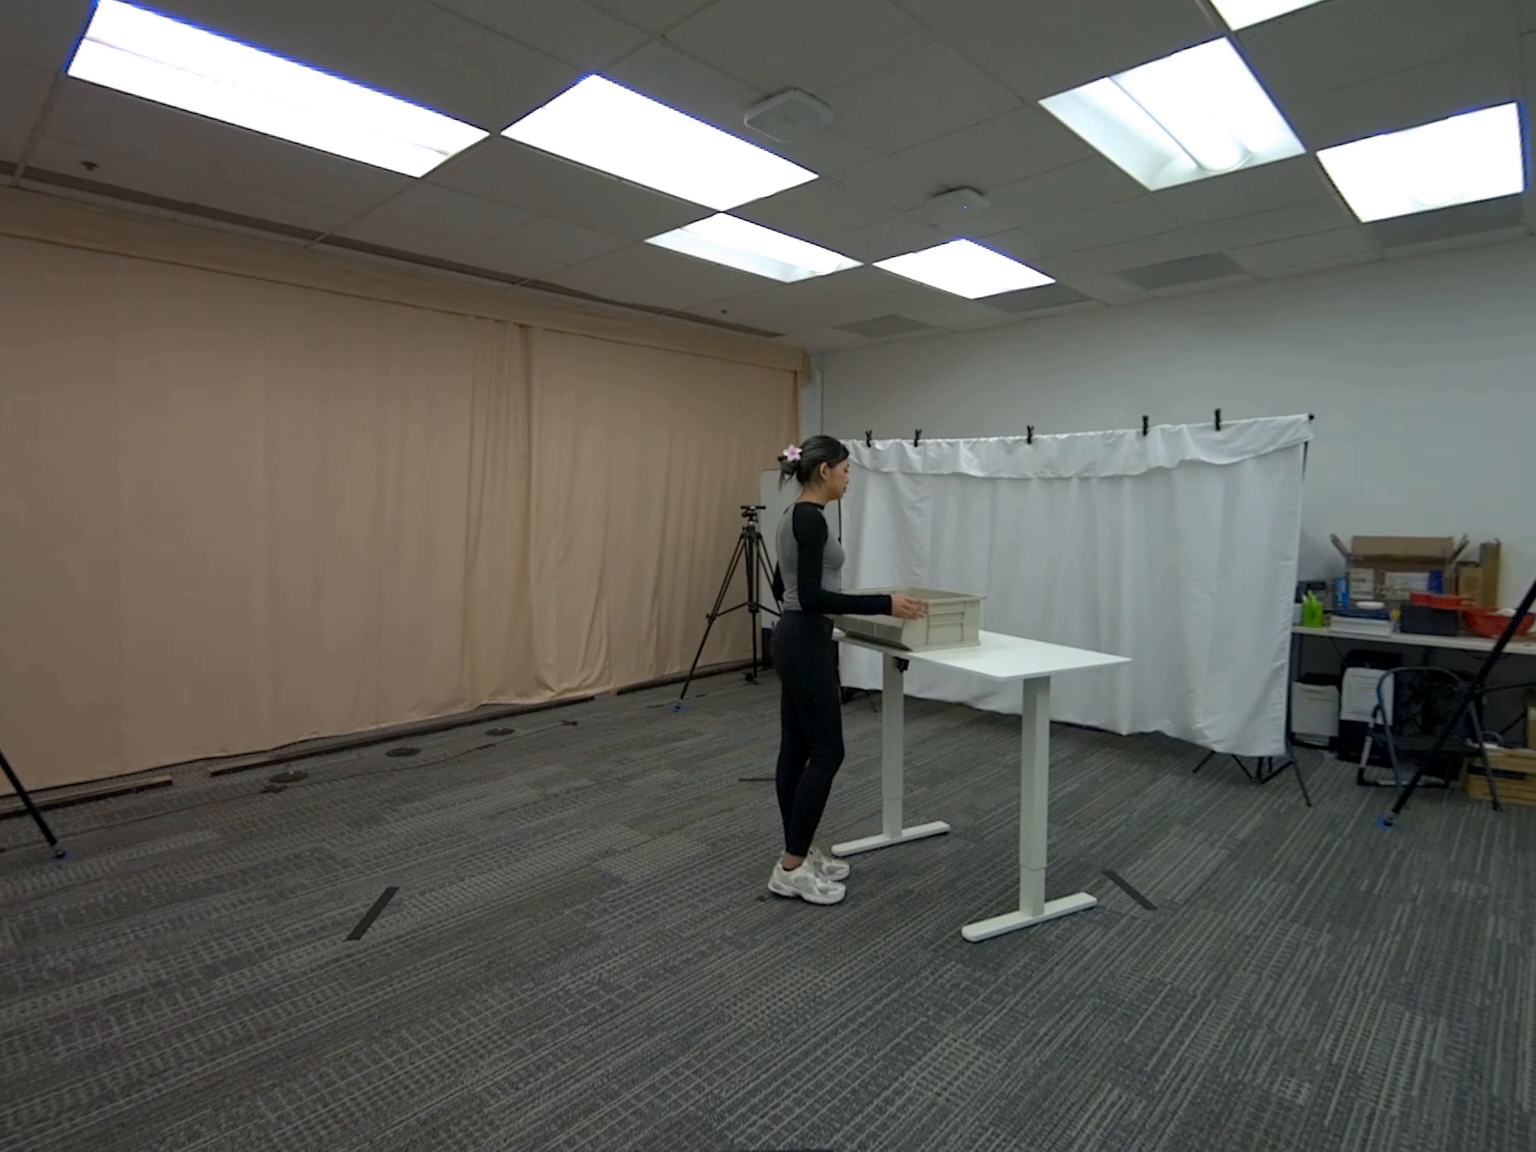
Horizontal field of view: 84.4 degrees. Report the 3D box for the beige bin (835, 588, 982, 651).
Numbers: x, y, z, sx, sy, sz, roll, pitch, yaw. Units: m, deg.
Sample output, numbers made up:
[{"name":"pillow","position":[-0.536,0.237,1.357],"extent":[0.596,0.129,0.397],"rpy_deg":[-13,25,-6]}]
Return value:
[{"name":"beige bin","position":[0.520,0.157,3.156],"extent":[0.368,0.188,0.434],"rpy_deg":[-1,4,-28]}]
